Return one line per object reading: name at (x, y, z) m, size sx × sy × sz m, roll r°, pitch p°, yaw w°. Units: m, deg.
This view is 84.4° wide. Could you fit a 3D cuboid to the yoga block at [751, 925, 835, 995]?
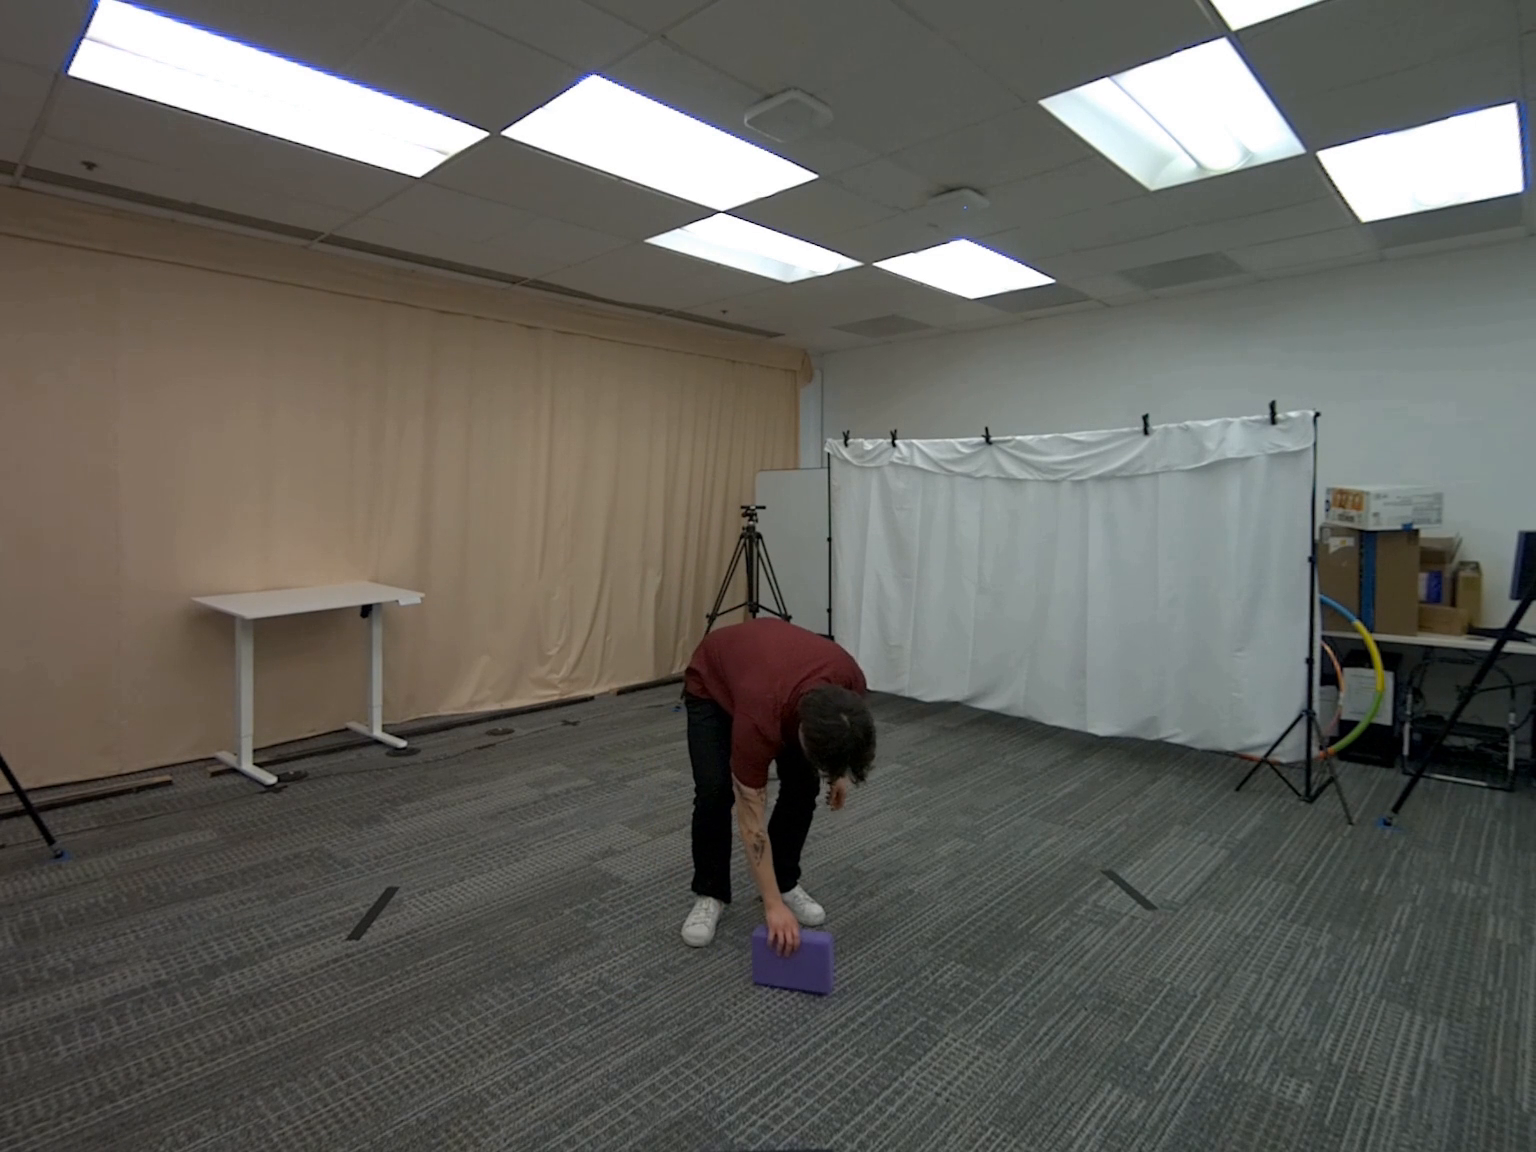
yoga block at (0.066, 1.107, 2.449) m, size 0.233 × 0.149 × 0.075 m, roll -1°, pitch 1°, yaw 17°
